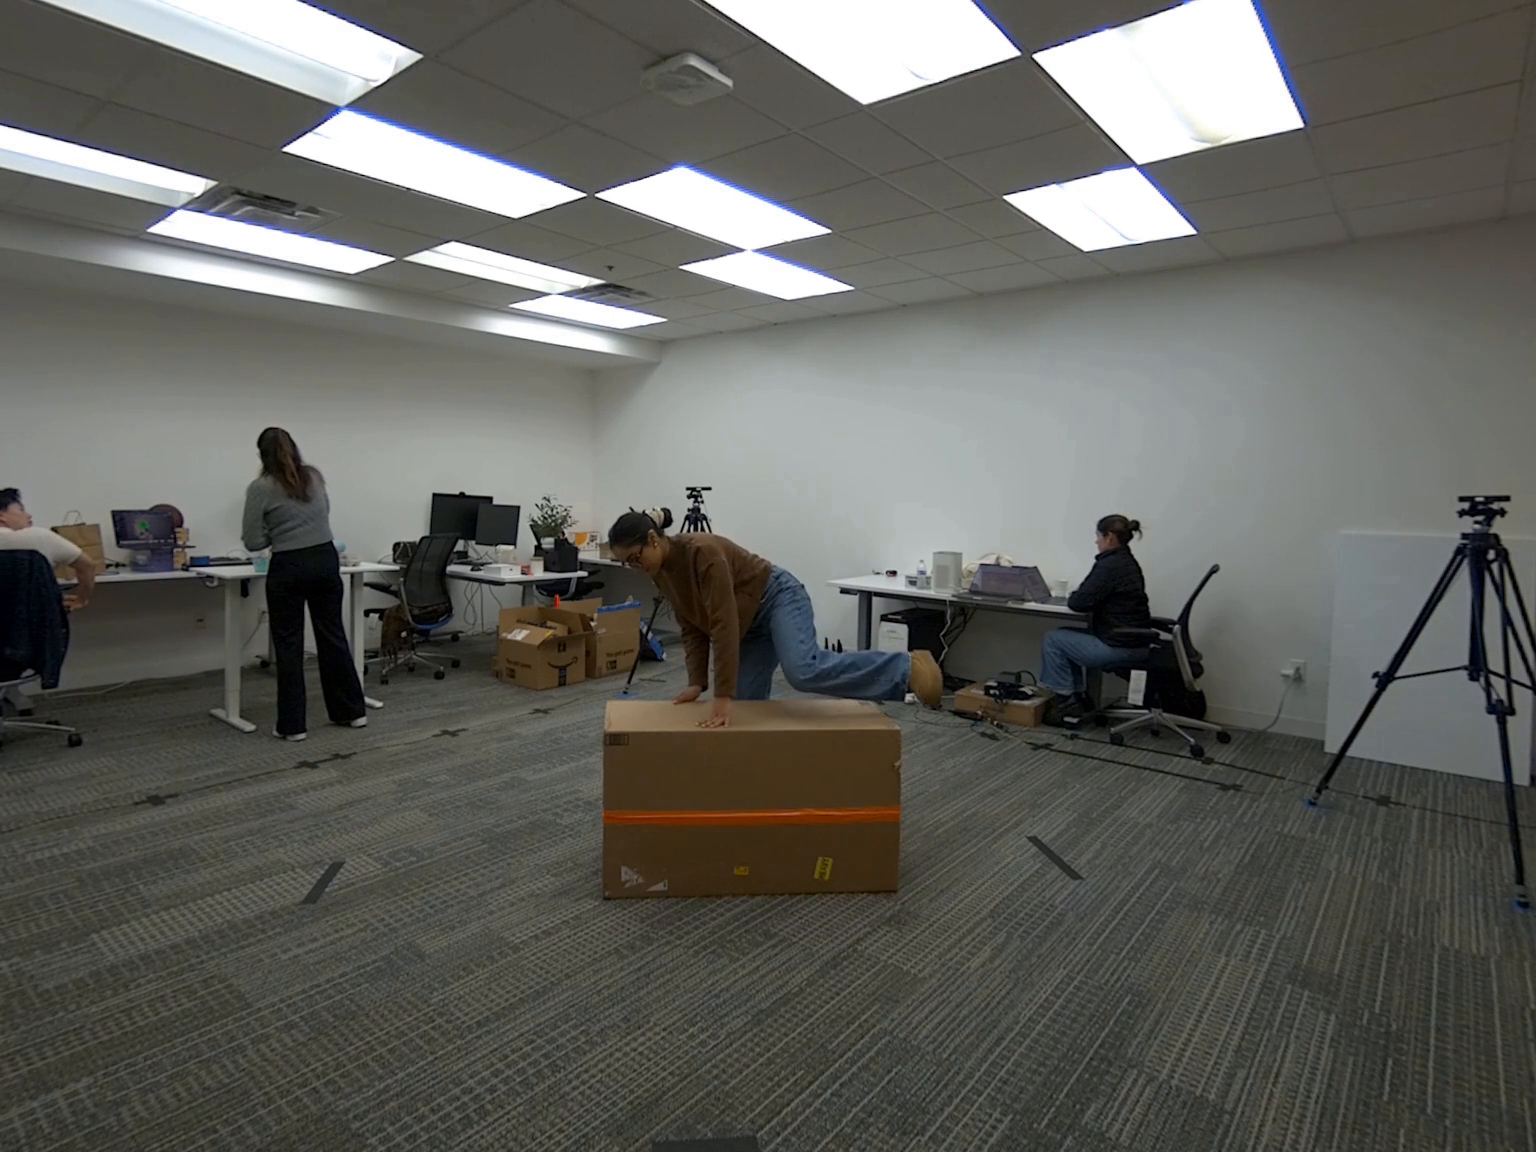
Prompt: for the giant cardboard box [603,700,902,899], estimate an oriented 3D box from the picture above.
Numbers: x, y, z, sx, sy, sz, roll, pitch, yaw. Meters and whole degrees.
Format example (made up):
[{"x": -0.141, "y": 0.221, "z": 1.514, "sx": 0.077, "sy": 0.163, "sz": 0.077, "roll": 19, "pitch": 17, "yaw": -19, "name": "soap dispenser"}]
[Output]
[{"x": -0.087, "y": 0.783, "z": 3.095, "sx": 1.021, "sy": 0.583, "sz": 0.450, "roll": 0, "pitch": 3, "yaw": -6, "name": "giant cardboard box"}]
